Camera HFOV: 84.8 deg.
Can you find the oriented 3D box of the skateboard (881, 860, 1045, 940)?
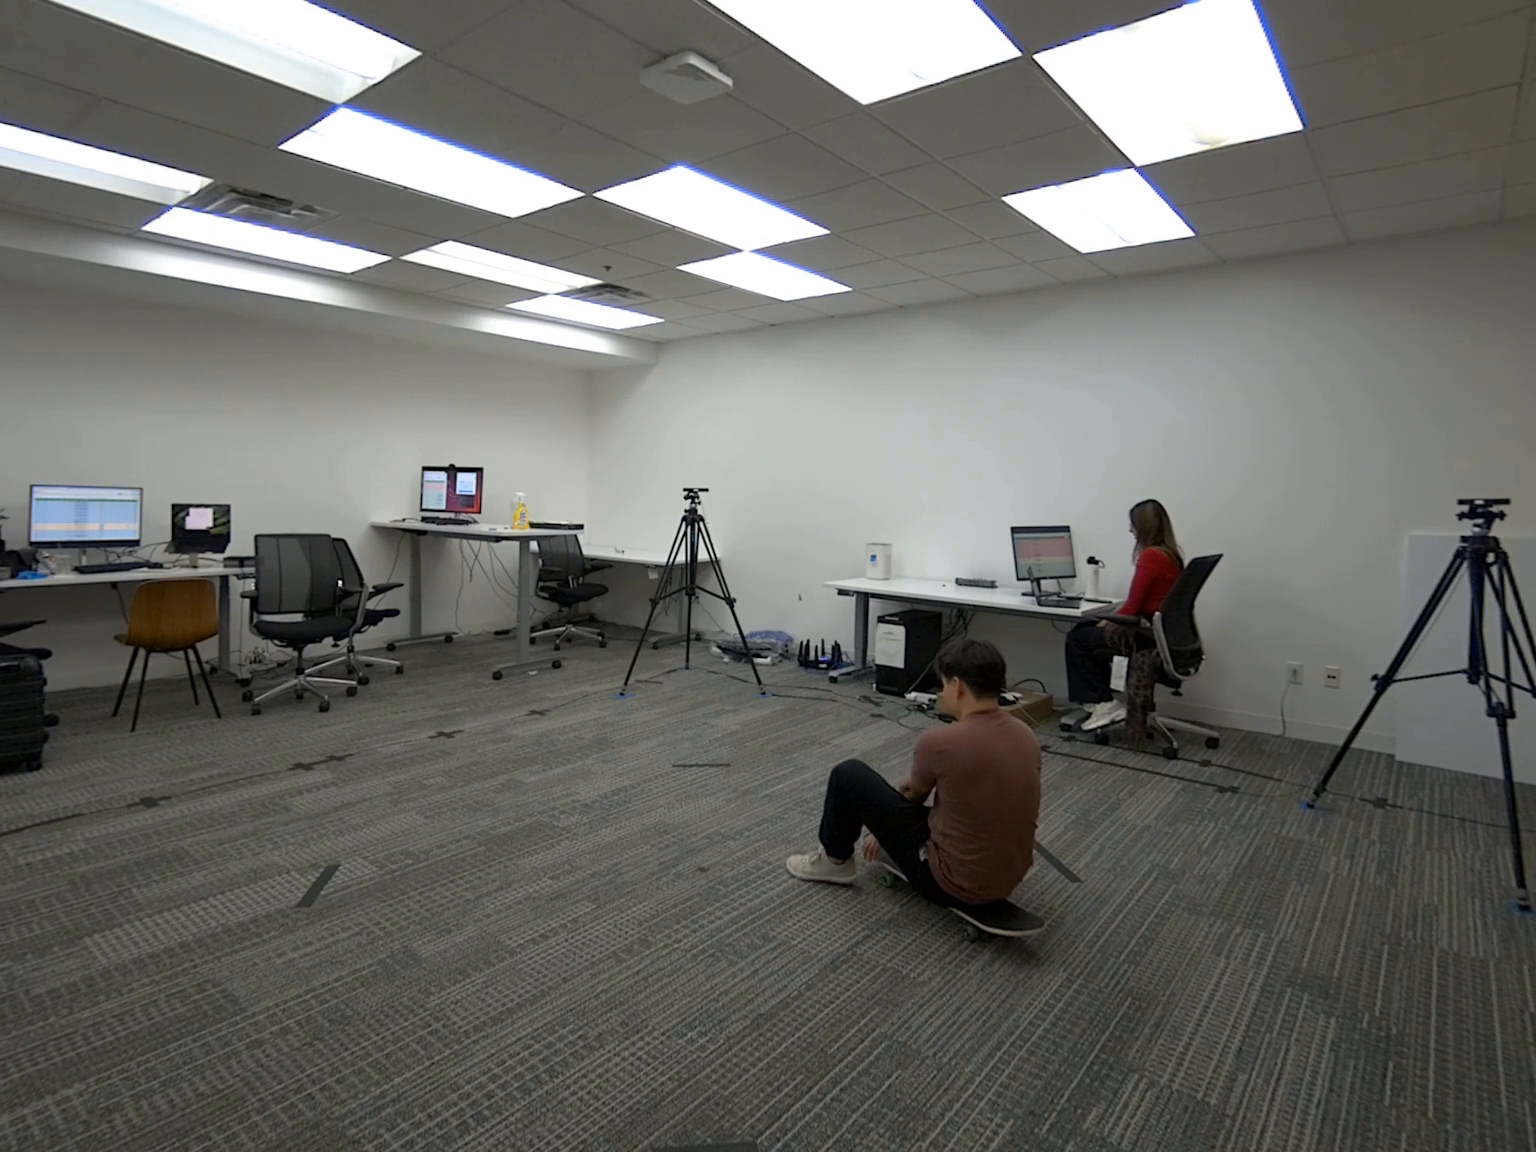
[{"bbox_3d":[0.593,1.065,2.868,0.188,0.110,0.810,-2,6,-31],"label":"skateboard"}]
